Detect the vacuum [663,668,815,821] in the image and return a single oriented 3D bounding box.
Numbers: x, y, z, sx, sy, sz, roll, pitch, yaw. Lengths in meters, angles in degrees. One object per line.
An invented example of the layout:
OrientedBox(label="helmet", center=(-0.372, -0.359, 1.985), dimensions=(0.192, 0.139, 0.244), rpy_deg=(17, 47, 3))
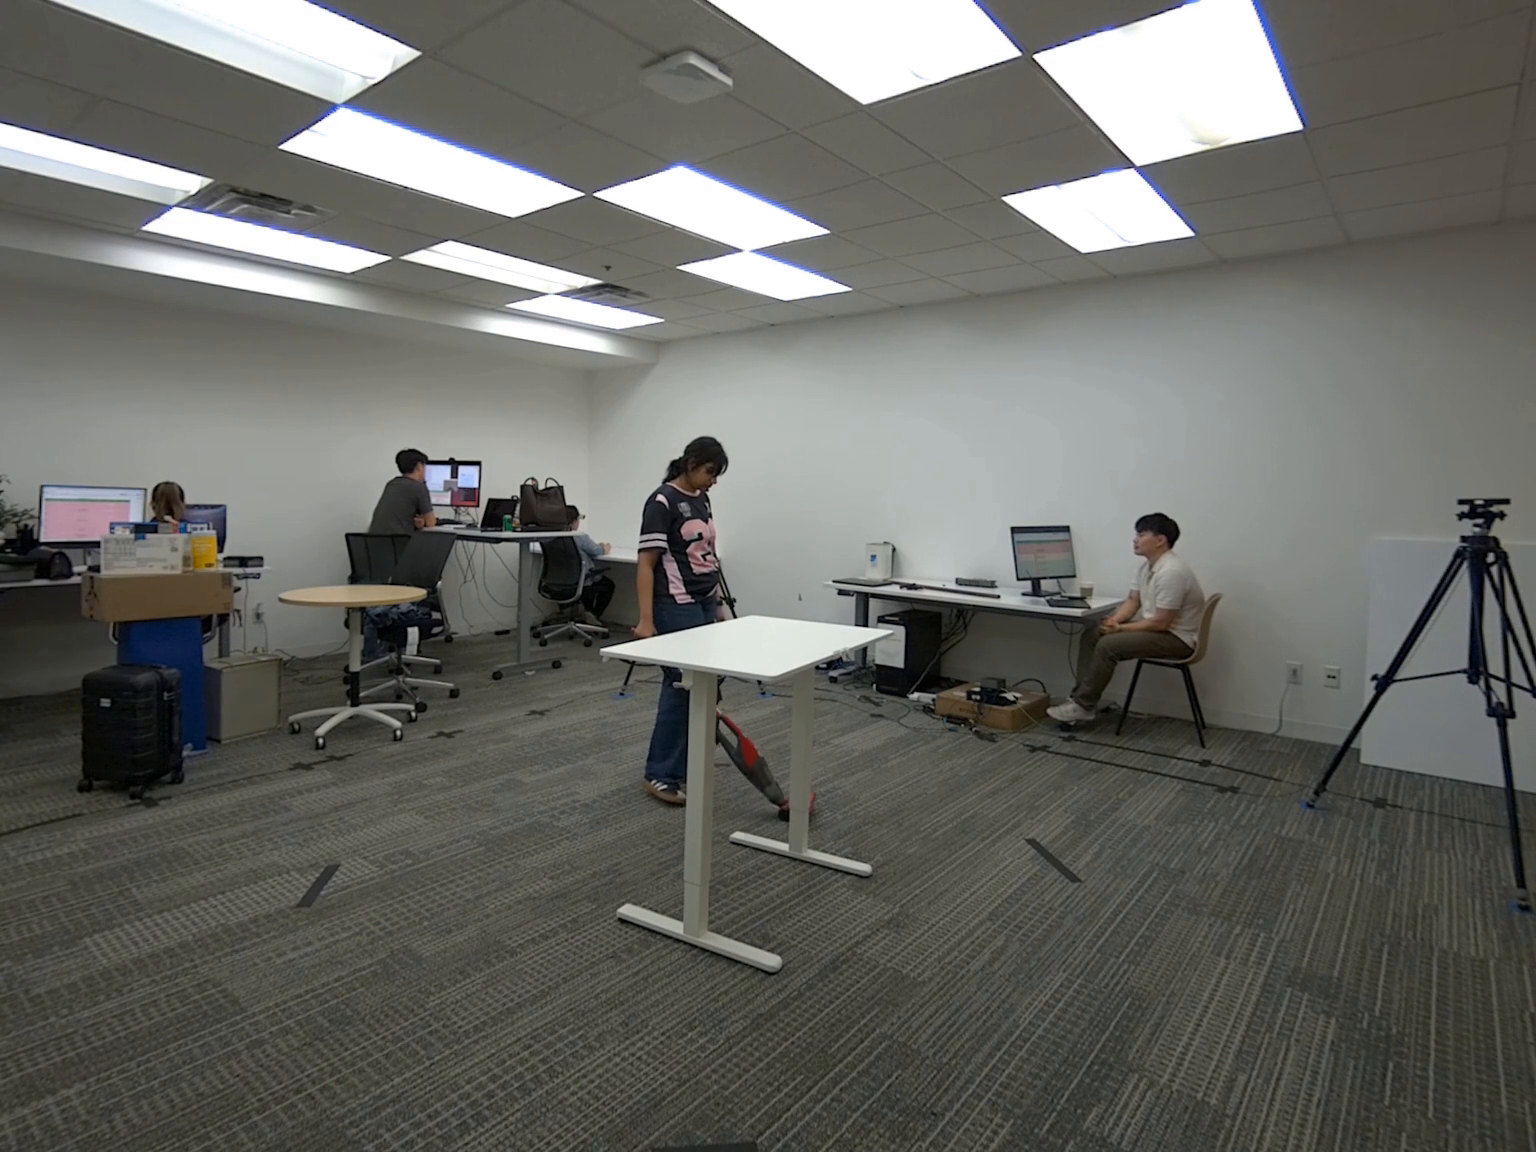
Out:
OrientedBox(label="vacuum", center=(-0.232, 0.632, 3.708), dimensions=(1.063, 0.144, 0.249), rpy_deg=(46, 8, 9))
